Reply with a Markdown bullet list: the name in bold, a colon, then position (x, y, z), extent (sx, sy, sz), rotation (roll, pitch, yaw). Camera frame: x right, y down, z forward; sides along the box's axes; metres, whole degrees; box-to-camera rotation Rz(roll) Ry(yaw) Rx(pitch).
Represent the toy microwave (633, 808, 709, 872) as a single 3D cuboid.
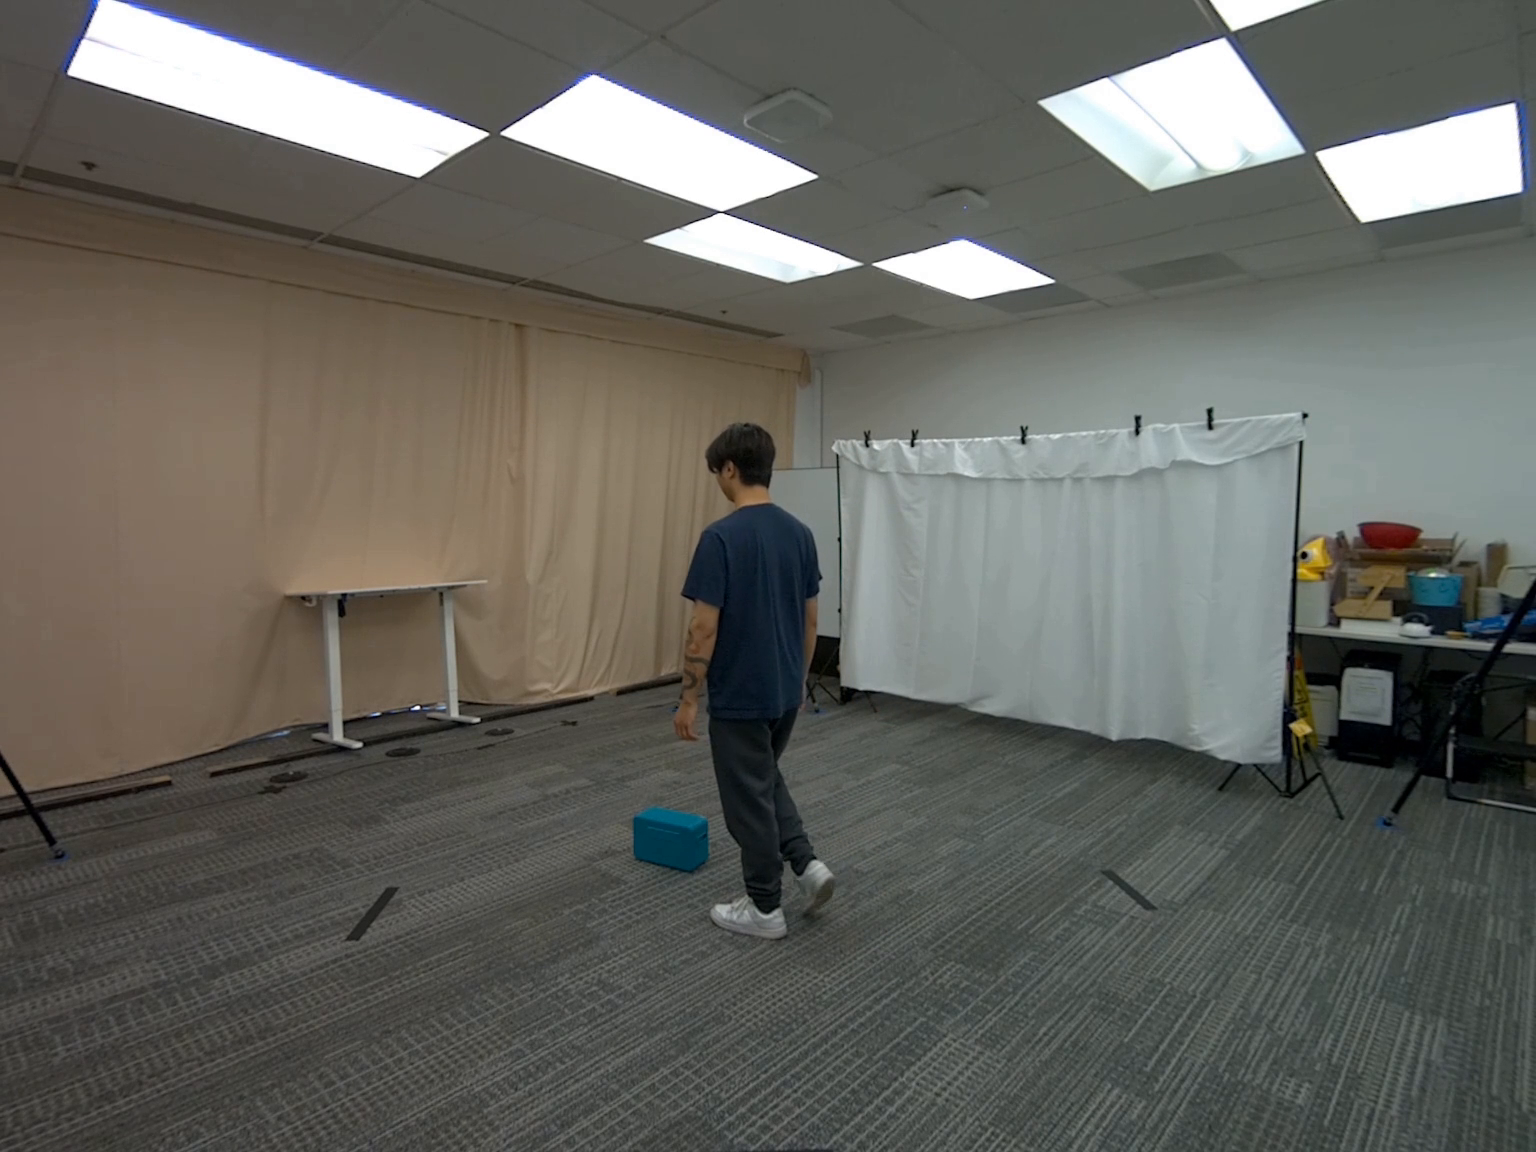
- **toy microwave**: position (-0.376, 1.026, 3.308), extent (0.294, 0.184, 0.148), rotation (1, 4, 29)
